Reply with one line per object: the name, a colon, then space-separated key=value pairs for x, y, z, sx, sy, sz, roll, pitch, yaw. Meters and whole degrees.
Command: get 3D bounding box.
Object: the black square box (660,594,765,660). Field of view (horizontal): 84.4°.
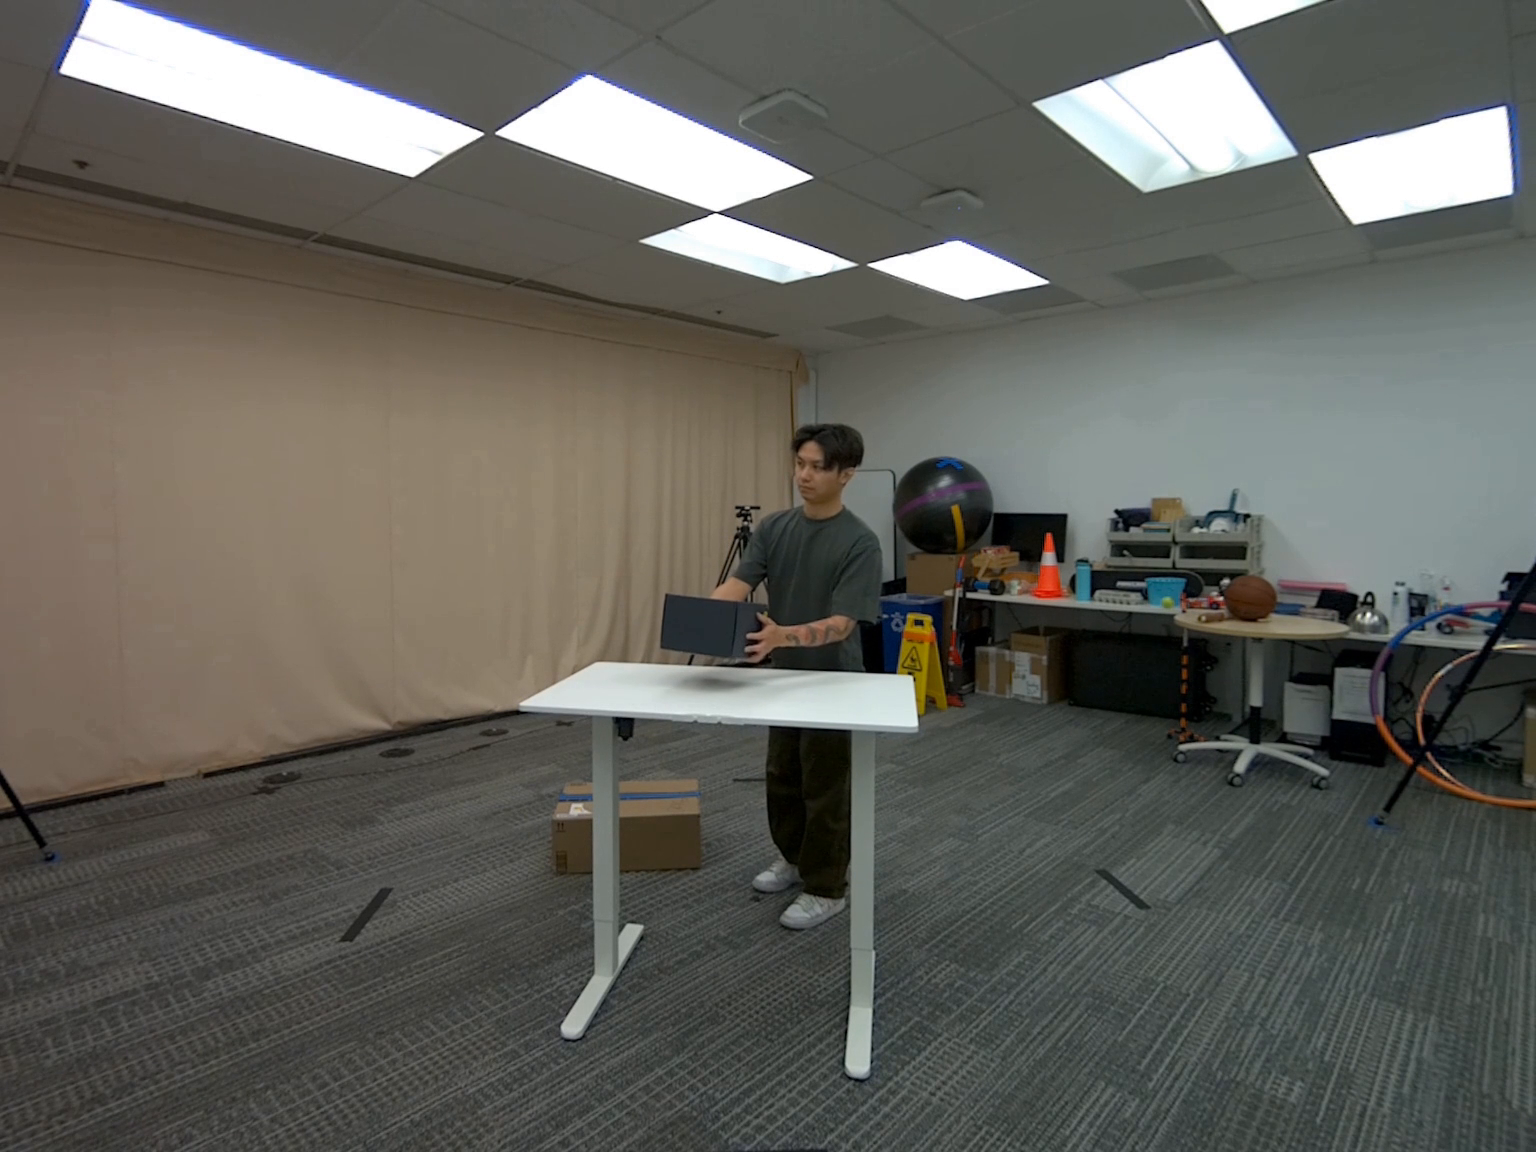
black square box: x=-0.151 y=0.144 z=2.399 sx=0.234 sy=0.156 sz=0.211 roll=4 pitch=-3 yaw=25
